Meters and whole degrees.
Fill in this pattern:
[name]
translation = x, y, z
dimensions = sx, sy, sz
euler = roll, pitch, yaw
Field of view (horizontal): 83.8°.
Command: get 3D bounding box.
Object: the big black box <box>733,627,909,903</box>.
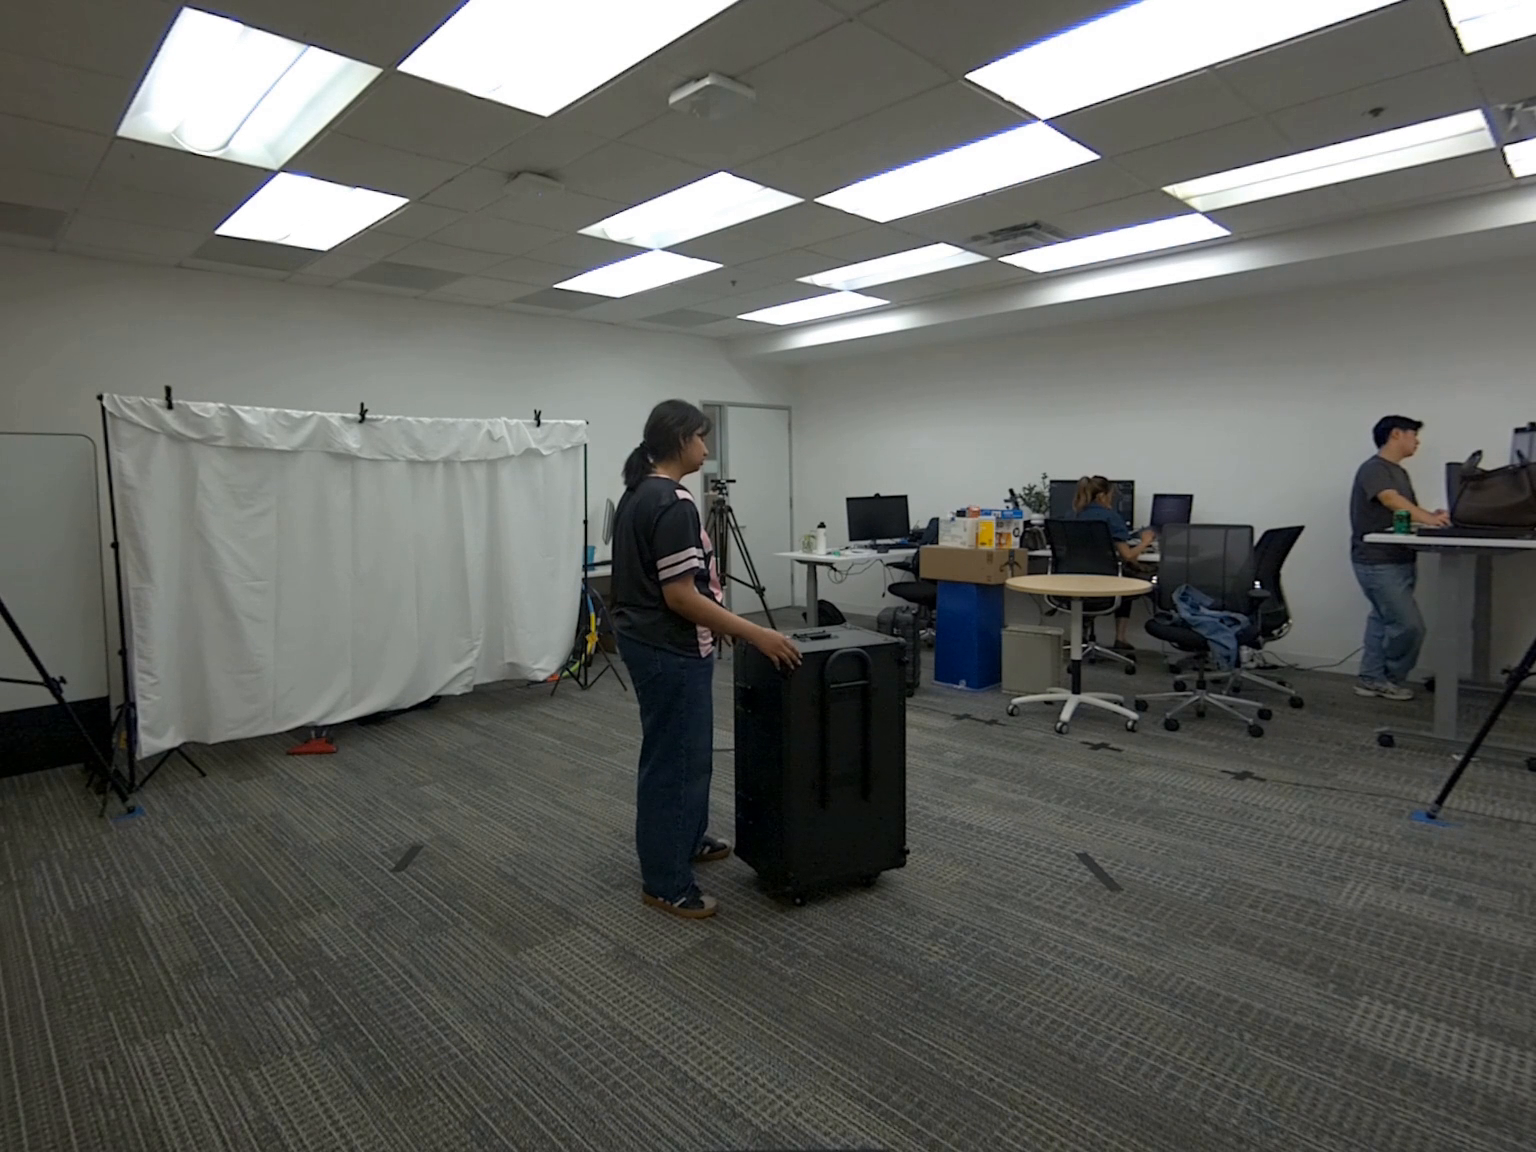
[big black box]
translation = 0.188, 0.637, 2.953
dimensions = 0.512, 0.865, 0.395
euler = -3, 5, -27
